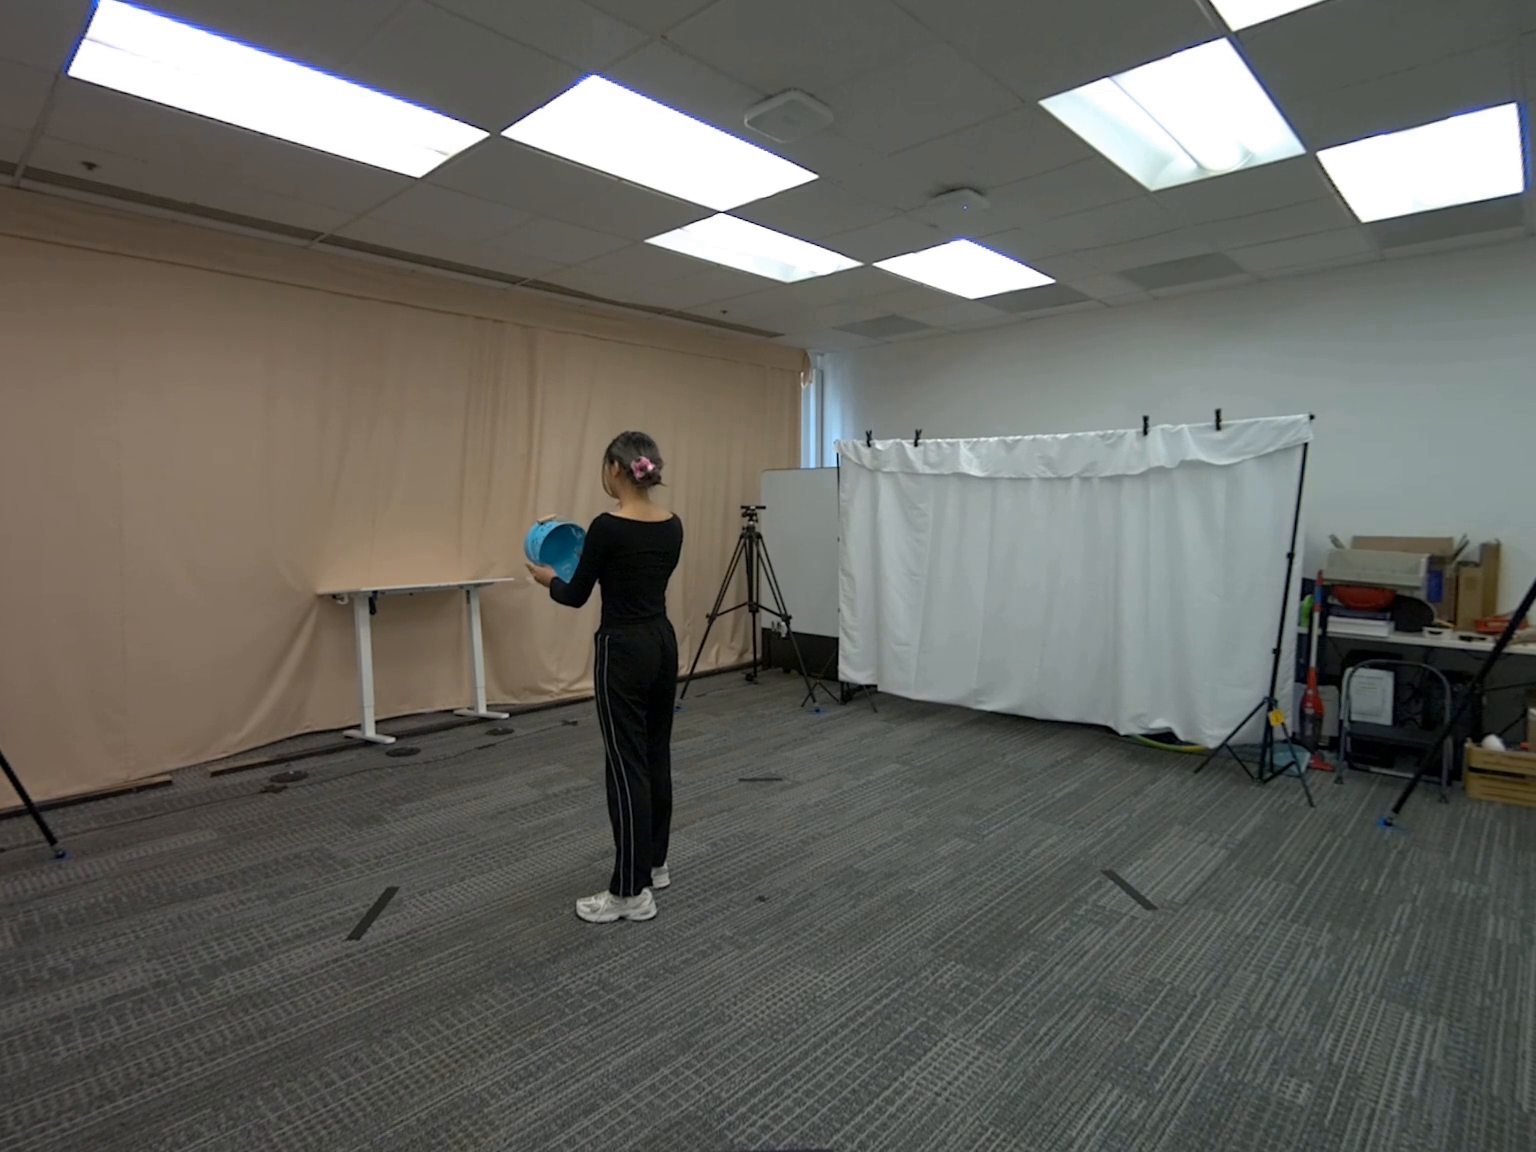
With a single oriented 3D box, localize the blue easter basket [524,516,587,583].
[{"bbox_3d":[-0.819,-0.103,3.234,0.236,0.242,0.162,-4,18,-44],"label":"blue easter basket"}]
